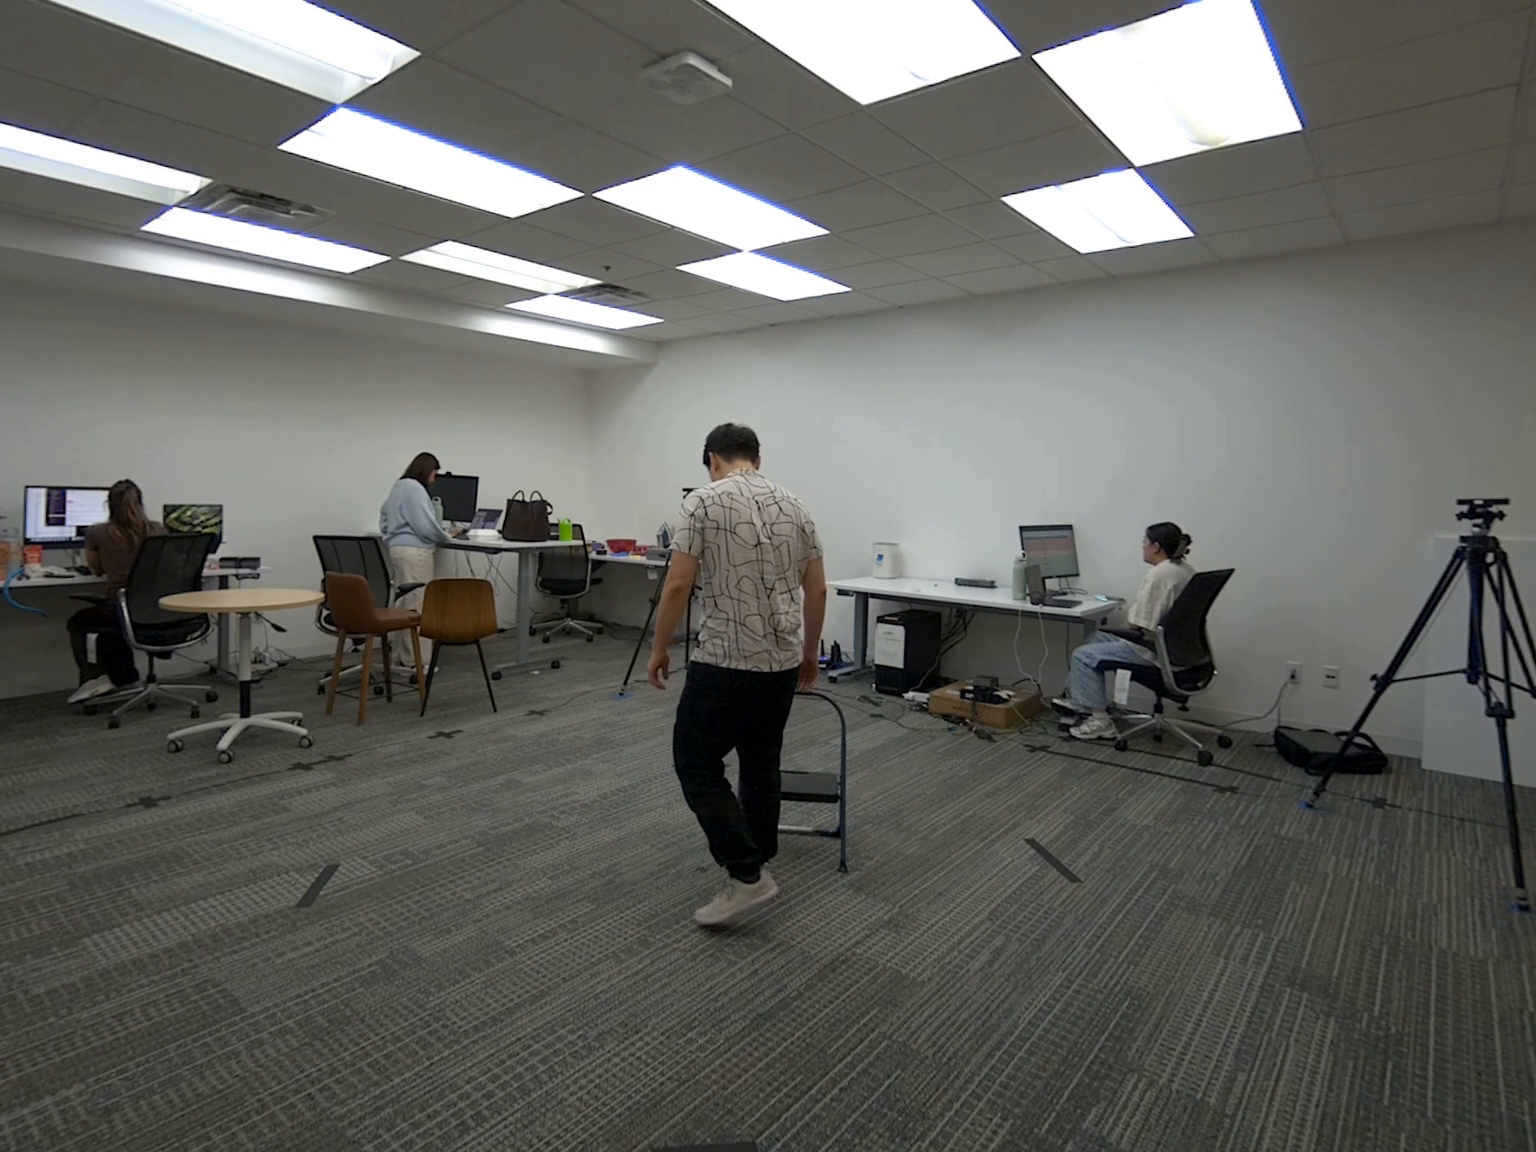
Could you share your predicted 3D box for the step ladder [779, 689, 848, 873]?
[{"bbox_3d":[0.095,0.757,3.298,0.434,0.604,0.348,2,4,6],"label":"step ladder"}]
